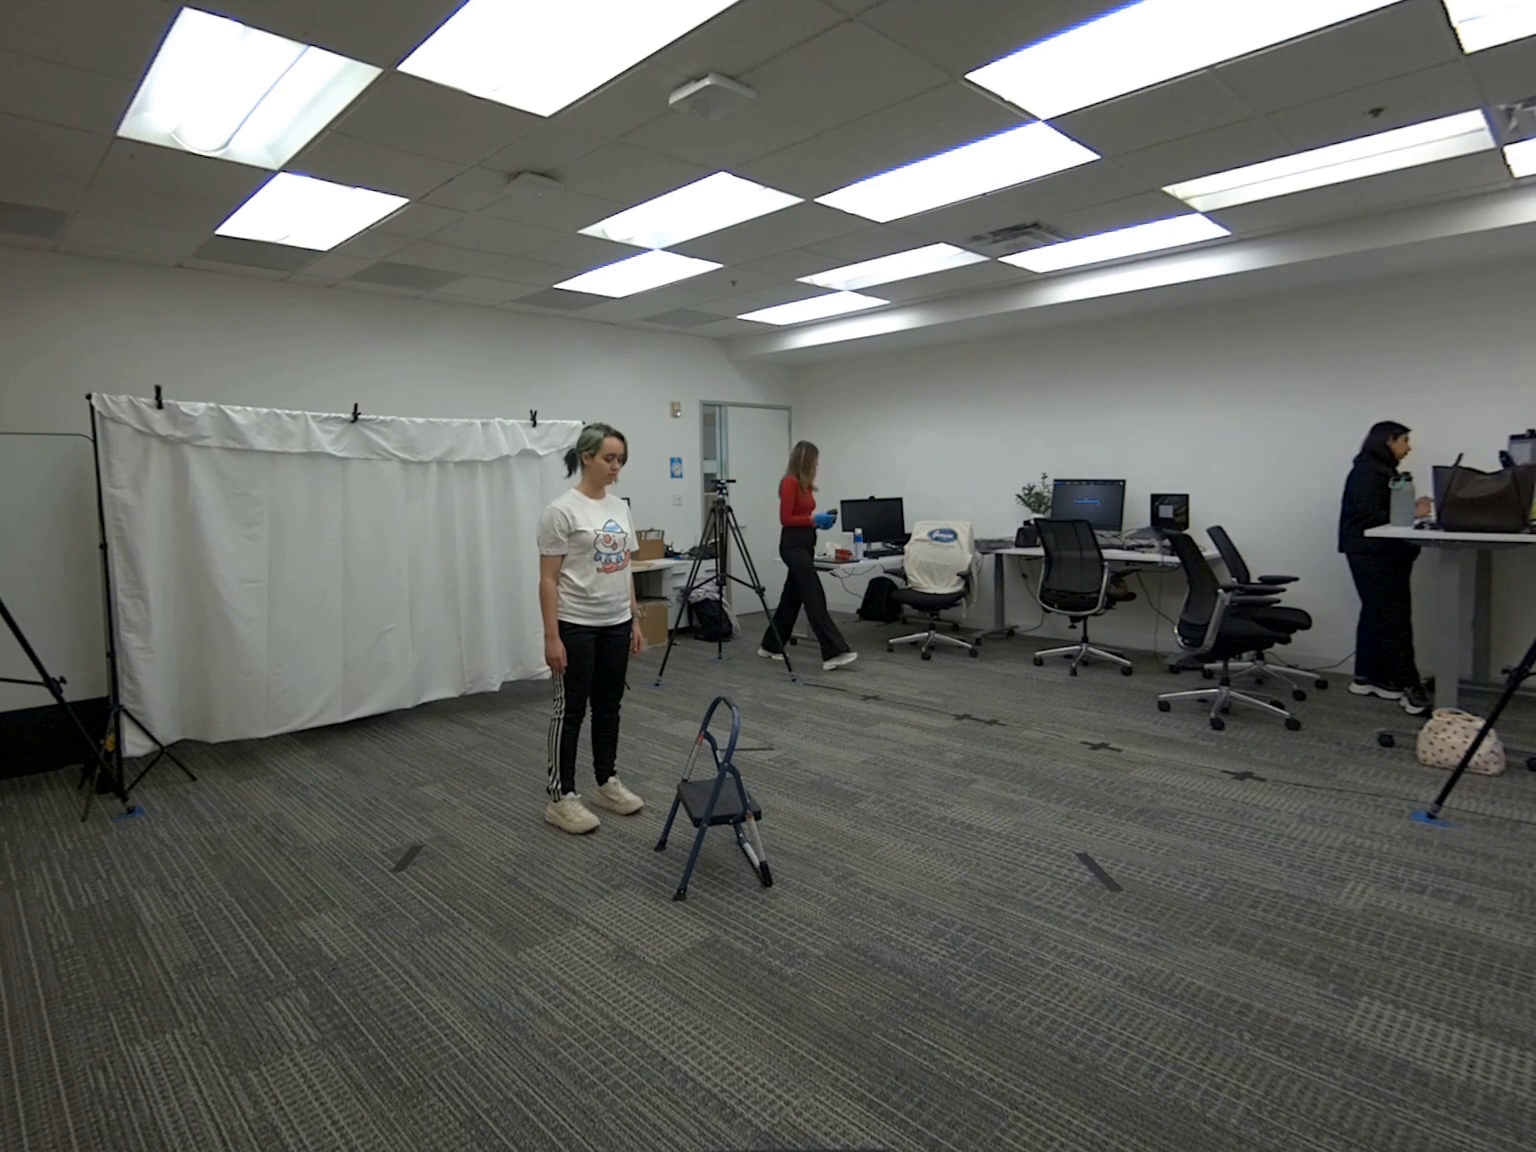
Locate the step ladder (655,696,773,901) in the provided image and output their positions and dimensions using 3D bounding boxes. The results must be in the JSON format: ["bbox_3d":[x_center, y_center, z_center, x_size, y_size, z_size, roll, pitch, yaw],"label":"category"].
[{"bbox_3d":[-0.205,0.753,3.070,0.344,0.604,0.438,-2,5,-16],"label":"step ladder"}]
